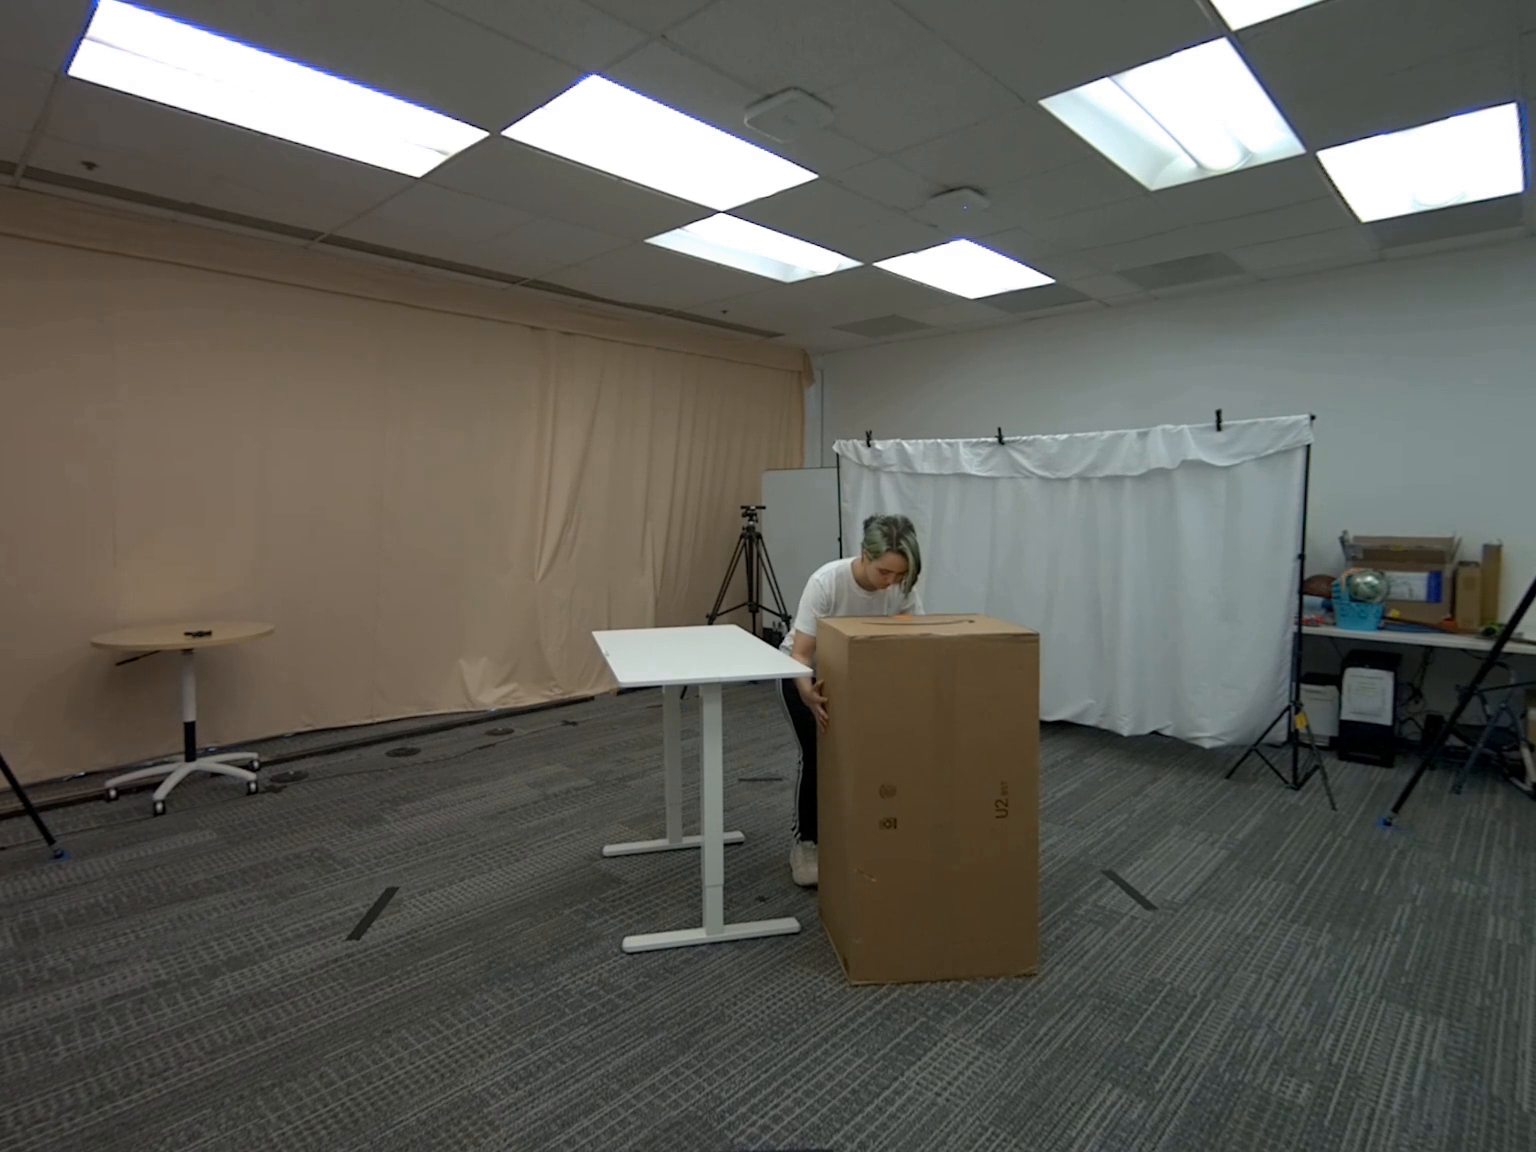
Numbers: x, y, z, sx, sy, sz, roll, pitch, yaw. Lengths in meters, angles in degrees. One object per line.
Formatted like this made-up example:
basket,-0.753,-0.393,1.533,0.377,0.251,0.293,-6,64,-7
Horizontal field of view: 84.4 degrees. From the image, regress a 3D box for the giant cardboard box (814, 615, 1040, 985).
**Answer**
giant cardboard box,0.489,0.665,2.650,0.579,1.024,0.451,-1,4,-8
